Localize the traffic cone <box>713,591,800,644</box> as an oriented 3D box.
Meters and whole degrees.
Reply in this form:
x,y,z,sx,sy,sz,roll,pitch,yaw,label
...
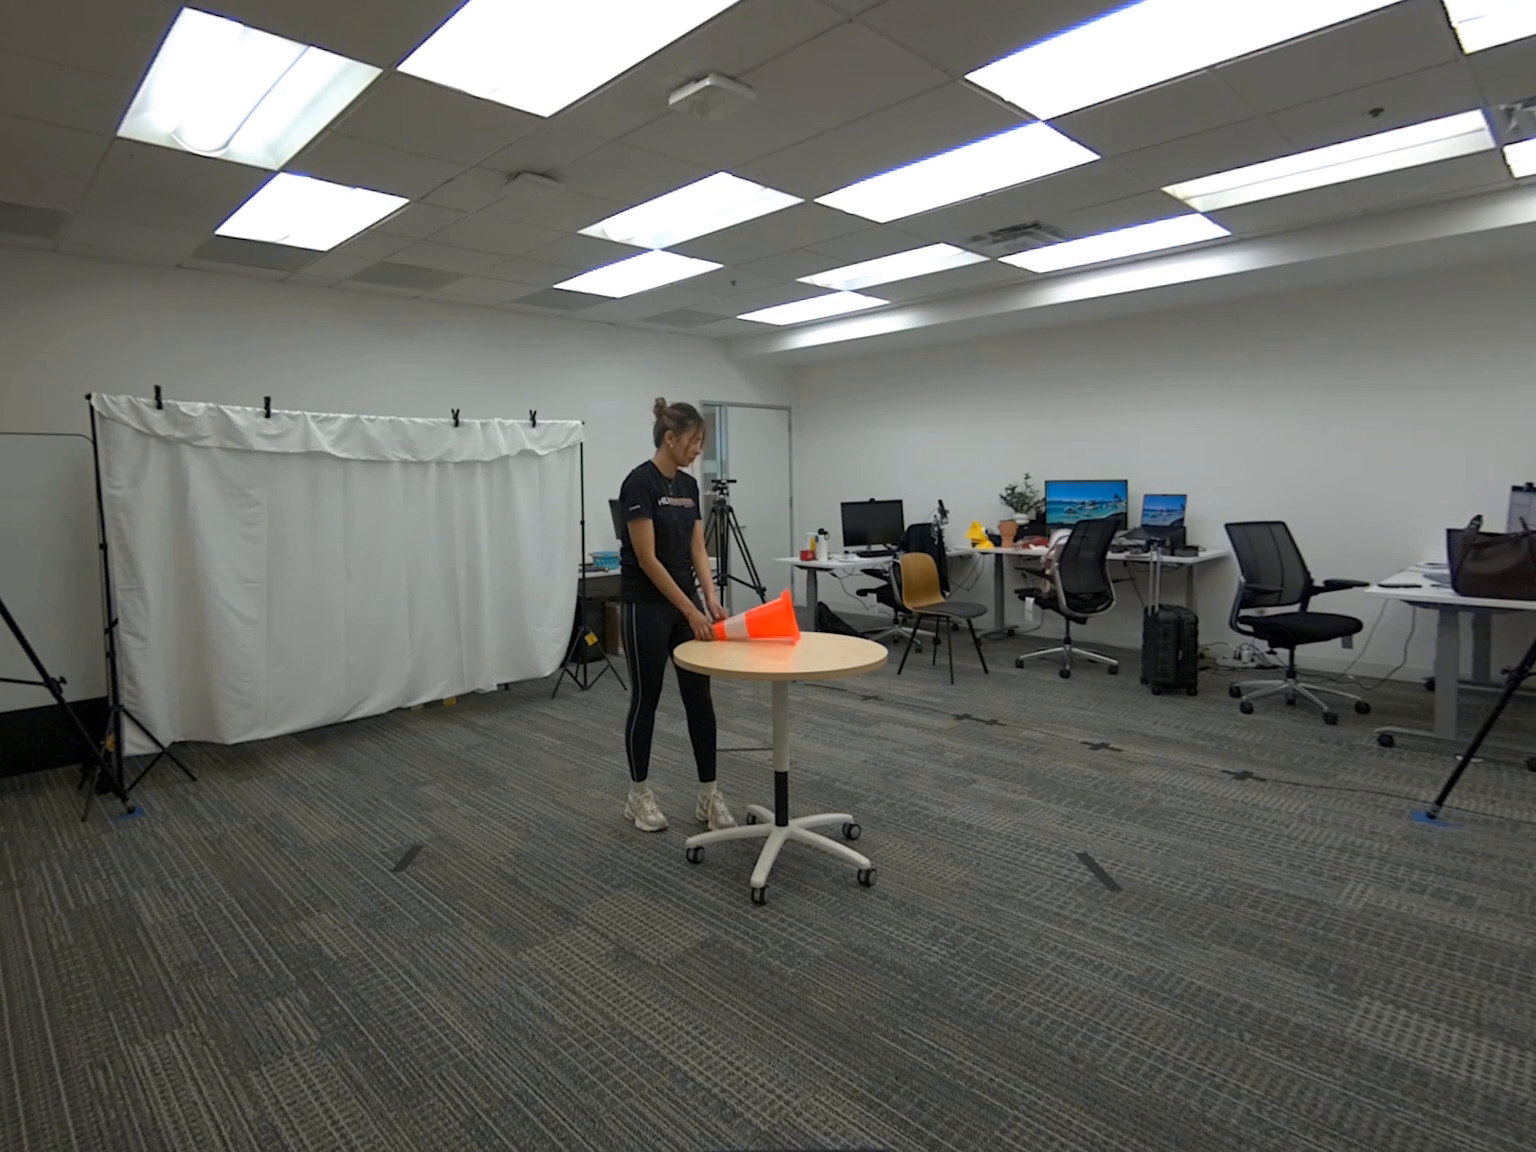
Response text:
x,y,z,sx,sy,sz,roll,pitch,yaw,label
-0.090,0.195,3.254,0.386,0.202,0.206,-13,8,6,traffic cone
